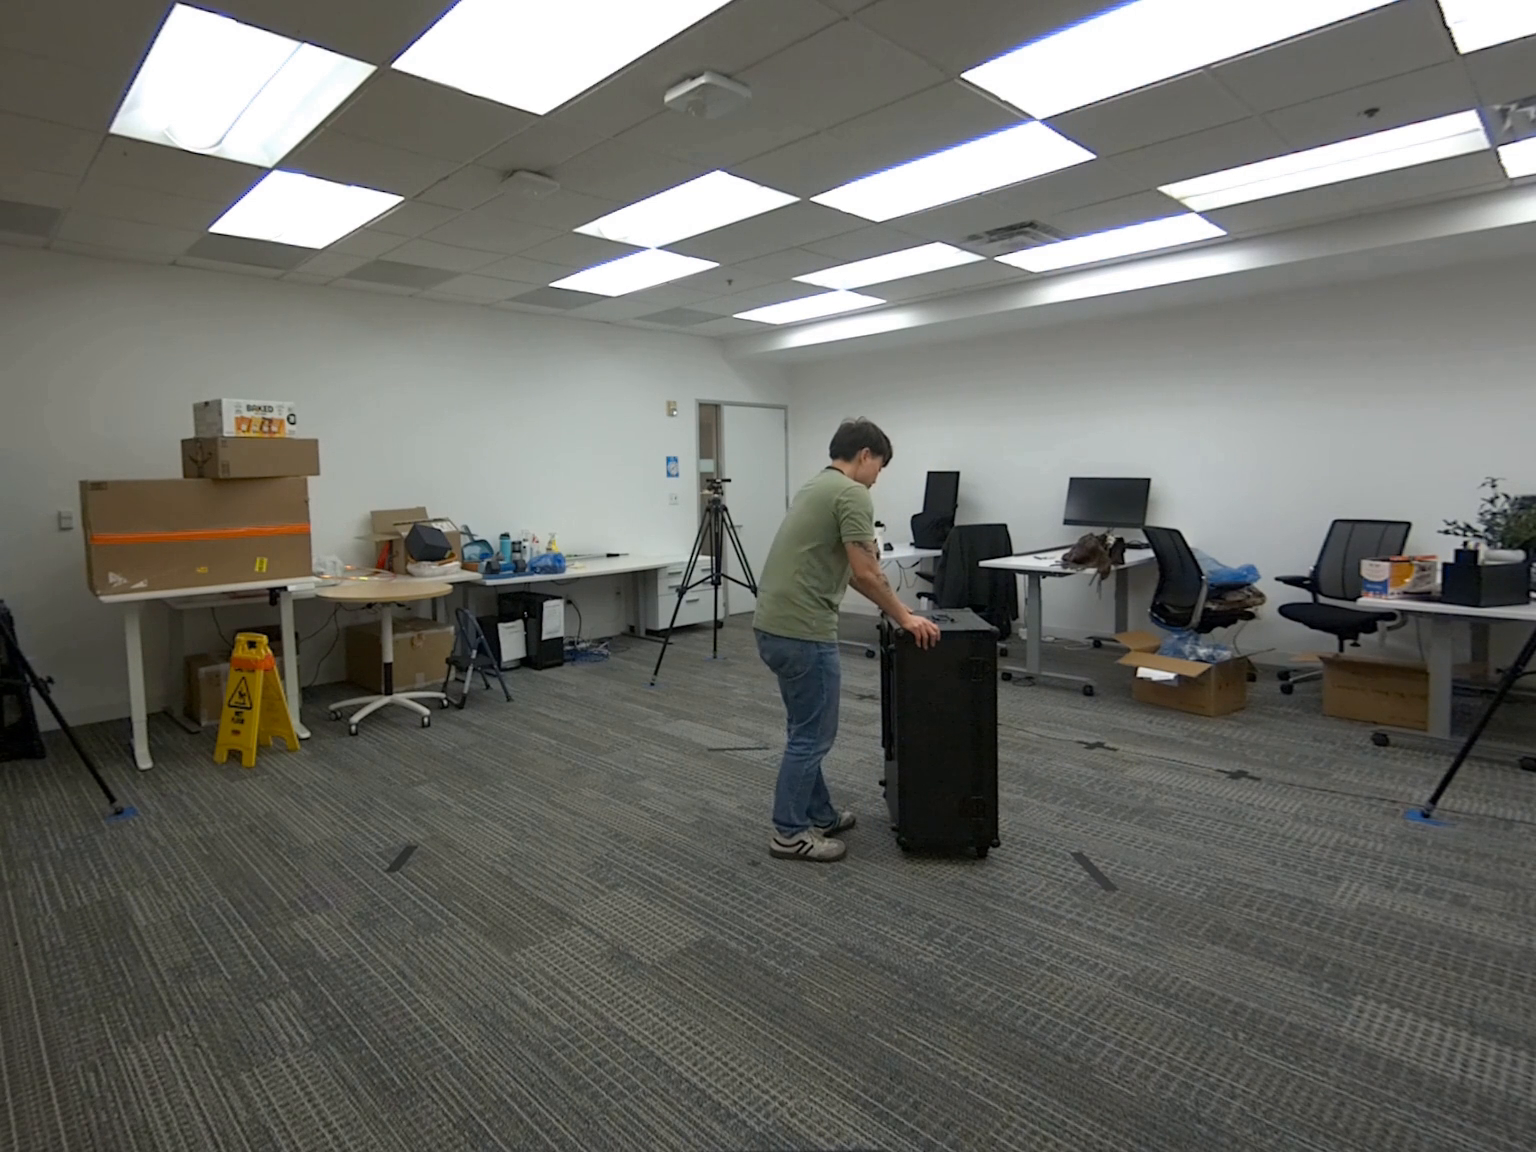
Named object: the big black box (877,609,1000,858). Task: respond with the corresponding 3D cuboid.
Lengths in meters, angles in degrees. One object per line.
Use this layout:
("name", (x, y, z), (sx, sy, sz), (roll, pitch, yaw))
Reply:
("big black box", (0.632, 0.591, 3.269), (0.398, 0.858, 0.521), (-2, 4, 4))
